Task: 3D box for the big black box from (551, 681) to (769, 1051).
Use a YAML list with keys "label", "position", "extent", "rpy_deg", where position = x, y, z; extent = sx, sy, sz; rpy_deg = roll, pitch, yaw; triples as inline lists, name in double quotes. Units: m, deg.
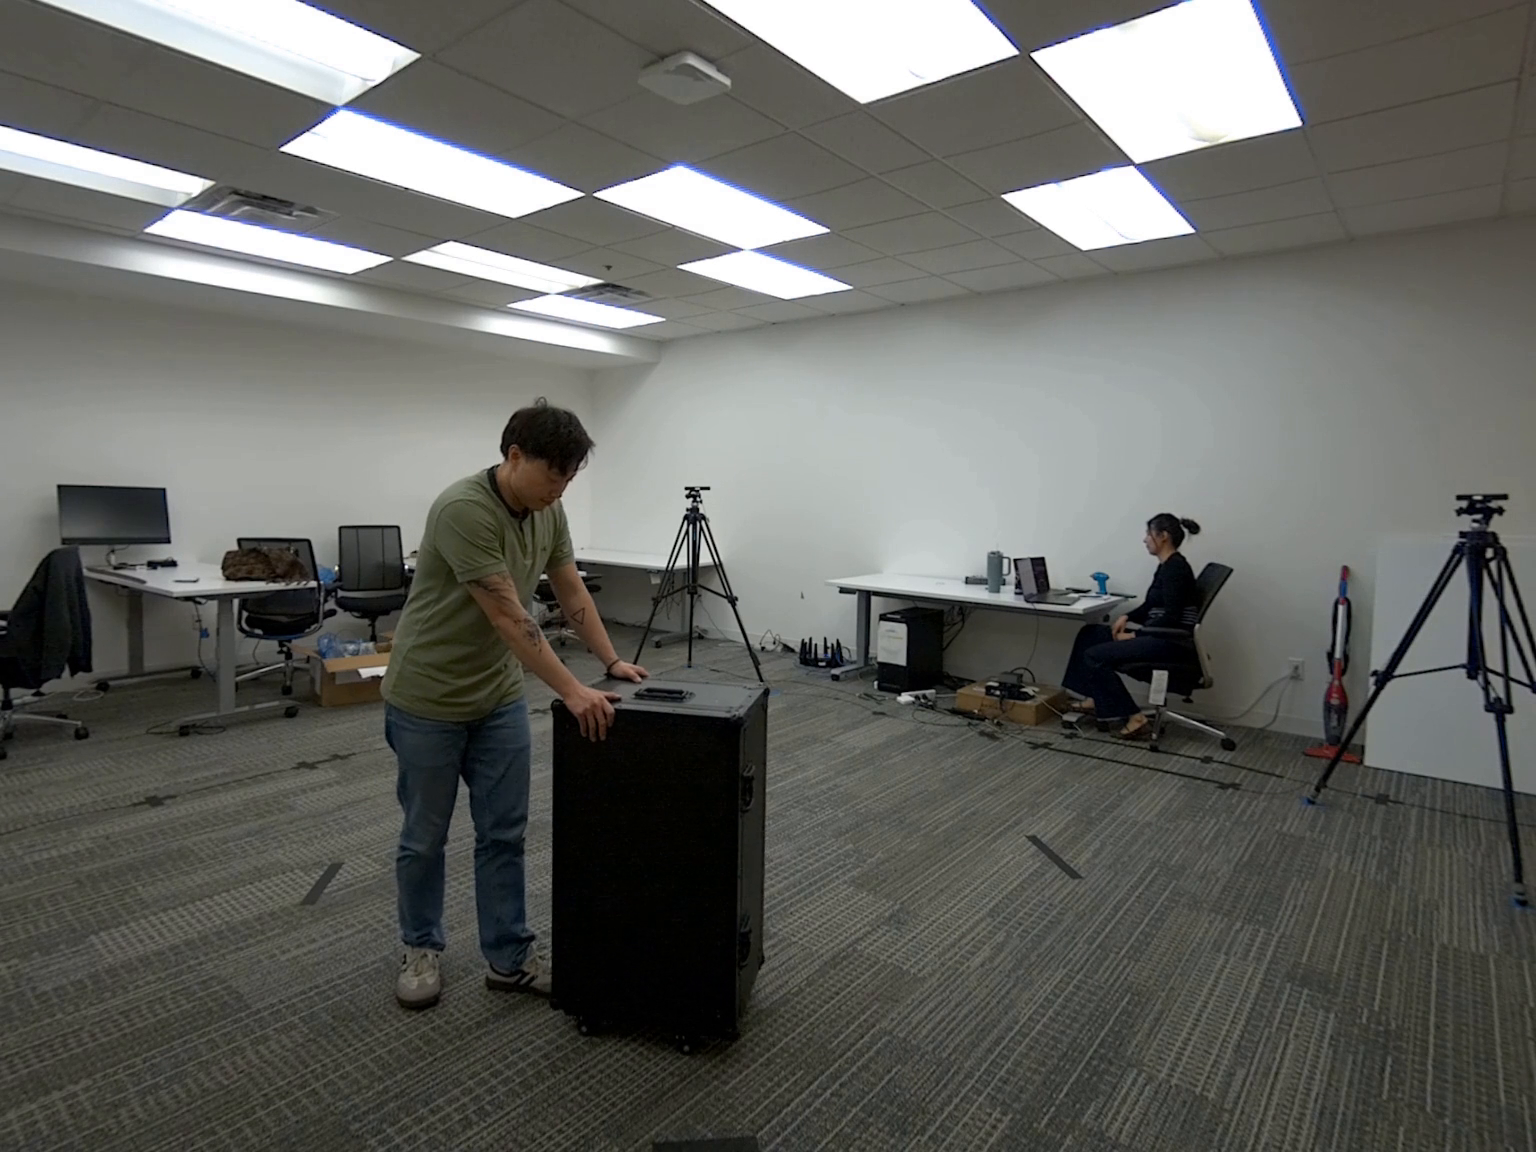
- label: "big black box"
  position: [-0.284, 0.736, 2.247]
  extent: [0.529, 0.859, 0.391]
  rpy_deg: [2, 3, 13]
